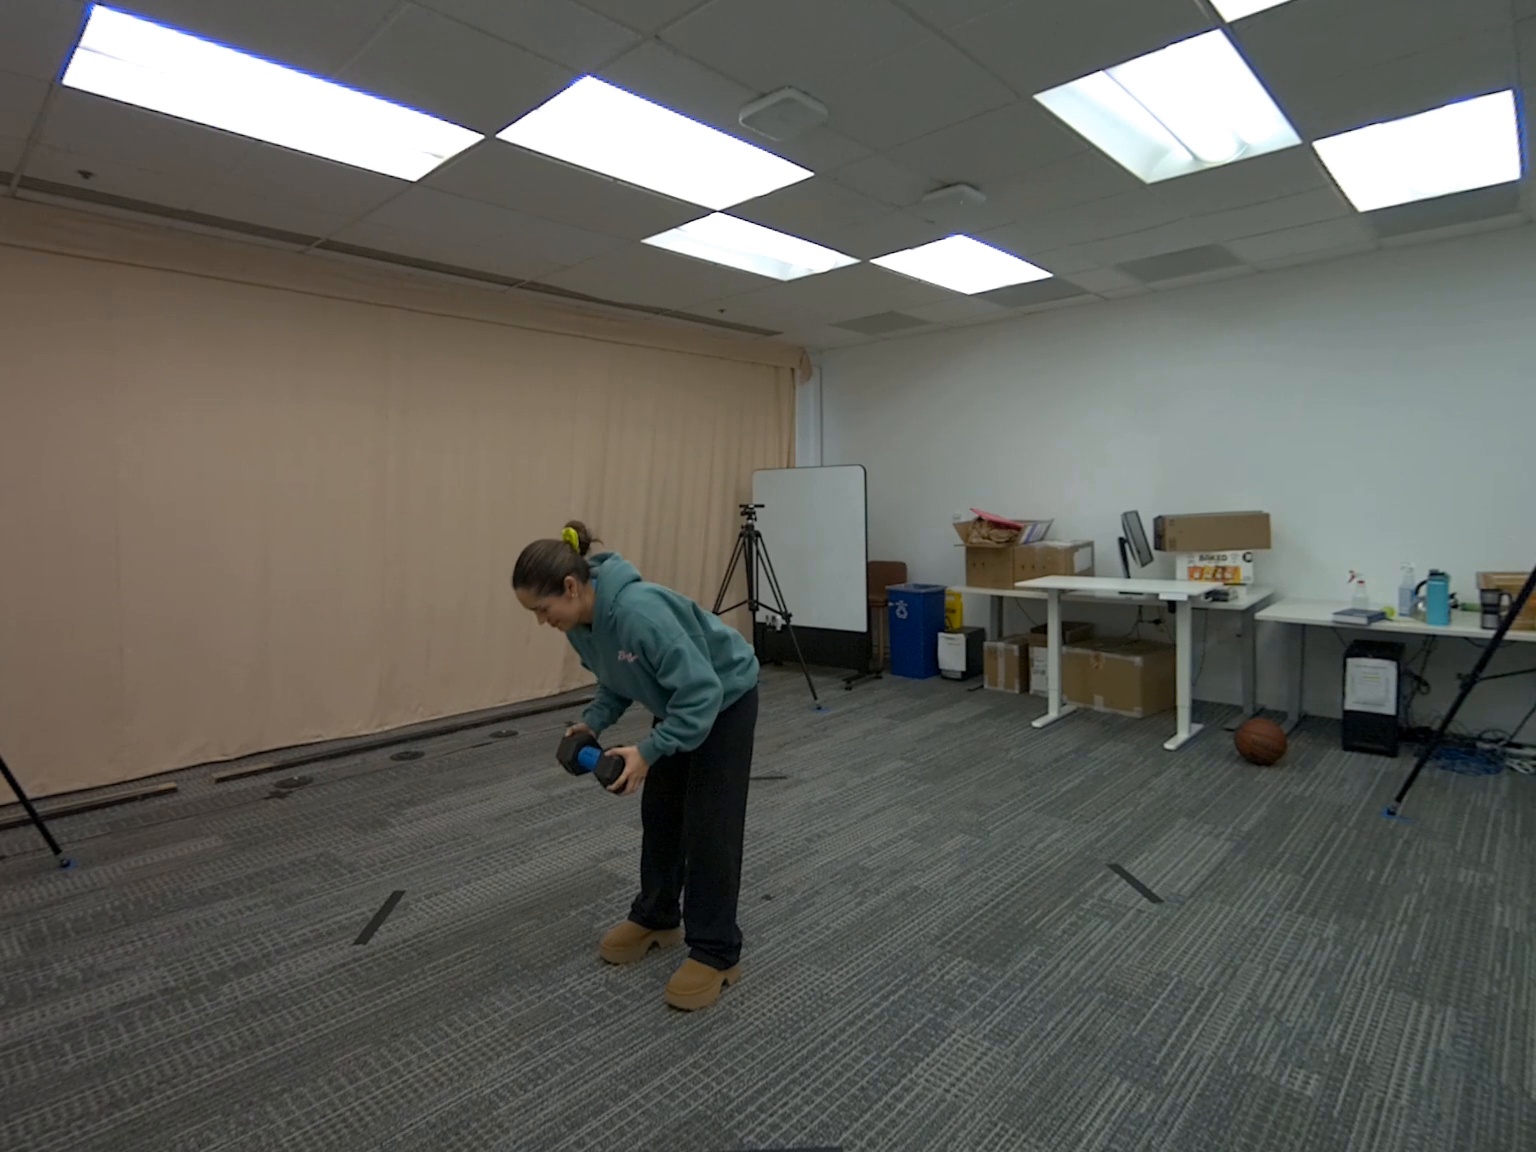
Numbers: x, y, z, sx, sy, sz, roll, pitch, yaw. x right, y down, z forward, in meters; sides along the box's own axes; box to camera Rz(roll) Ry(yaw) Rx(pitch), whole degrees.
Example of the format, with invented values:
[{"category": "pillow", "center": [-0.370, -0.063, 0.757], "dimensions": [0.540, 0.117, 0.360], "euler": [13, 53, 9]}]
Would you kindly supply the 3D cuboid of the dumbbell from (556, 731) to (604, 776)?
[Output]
[{"category": "dumbbell", "center": [-0.465, 0.513, 2.337], "dimensions": [0.105, 0.123, 0.303], "euler": [26, -15, -39]}]
